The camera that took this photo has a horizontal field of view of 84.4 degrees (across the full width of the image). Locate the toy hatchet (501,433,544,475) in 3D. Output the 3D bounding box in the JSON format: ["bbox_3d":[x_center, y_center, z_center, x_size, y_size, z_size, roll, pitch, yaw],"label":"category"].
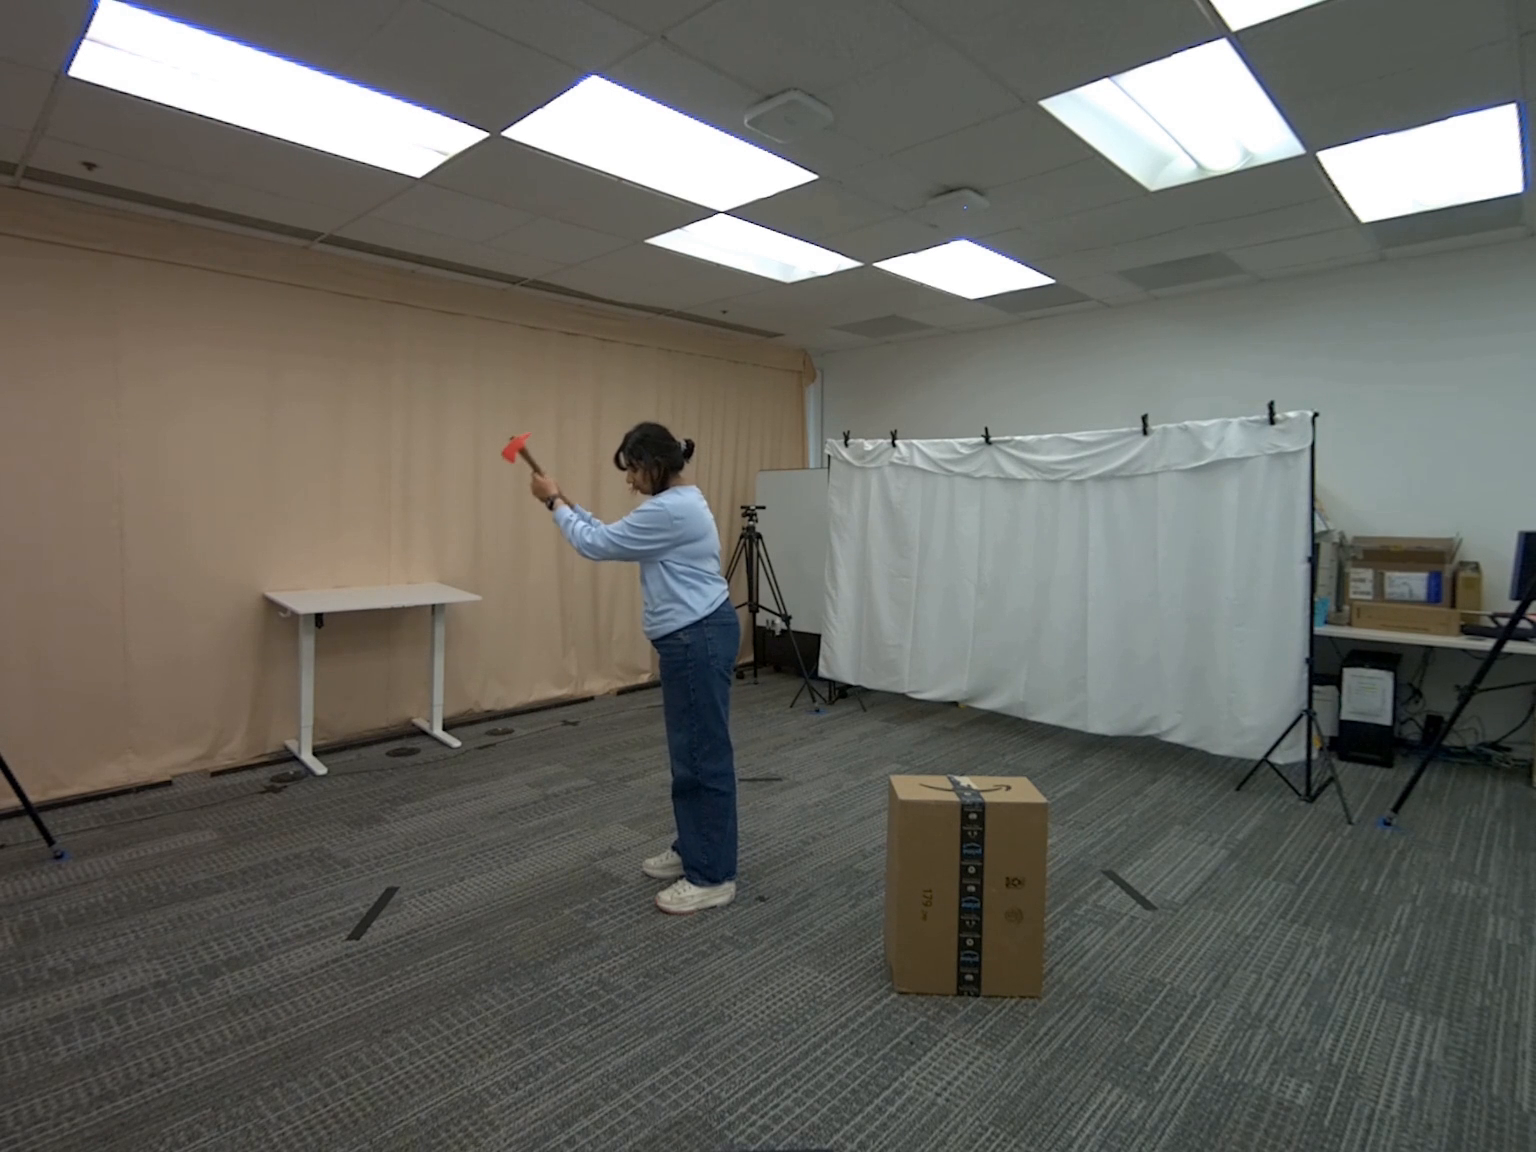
[{"bbox_3d":[-0.854,-0.363,3.071,0.129,0.268,0.030,-23,9,-21],"label":"toy hatchet"}]
